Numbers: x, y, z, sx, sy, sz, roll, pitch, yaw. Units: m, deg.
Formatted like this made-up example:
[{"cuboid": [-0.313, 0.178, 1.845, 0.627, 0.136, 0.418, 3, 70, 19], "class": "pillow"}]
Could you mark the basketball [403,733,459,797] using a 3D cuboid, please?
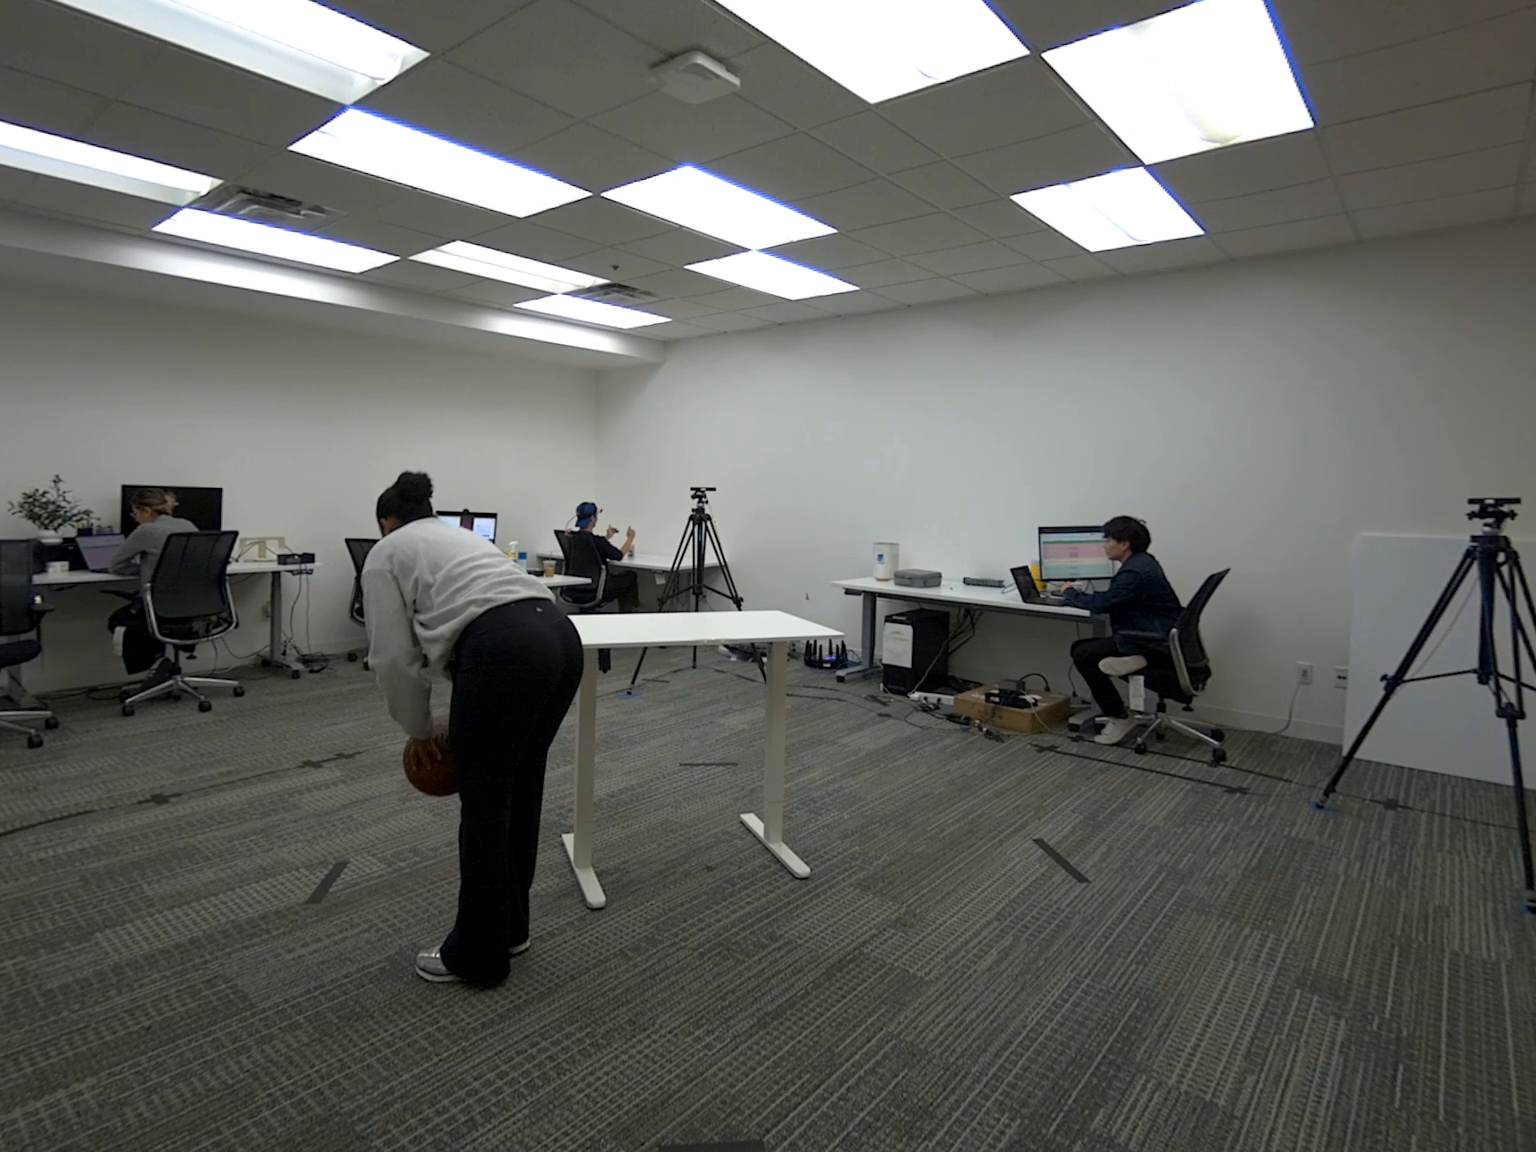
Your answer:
[{"cuboid": [-1.017, 0.558, 2.653, 0.235, 0.235, 0.237, 1, 4, -2], "class": "basketball"}]
